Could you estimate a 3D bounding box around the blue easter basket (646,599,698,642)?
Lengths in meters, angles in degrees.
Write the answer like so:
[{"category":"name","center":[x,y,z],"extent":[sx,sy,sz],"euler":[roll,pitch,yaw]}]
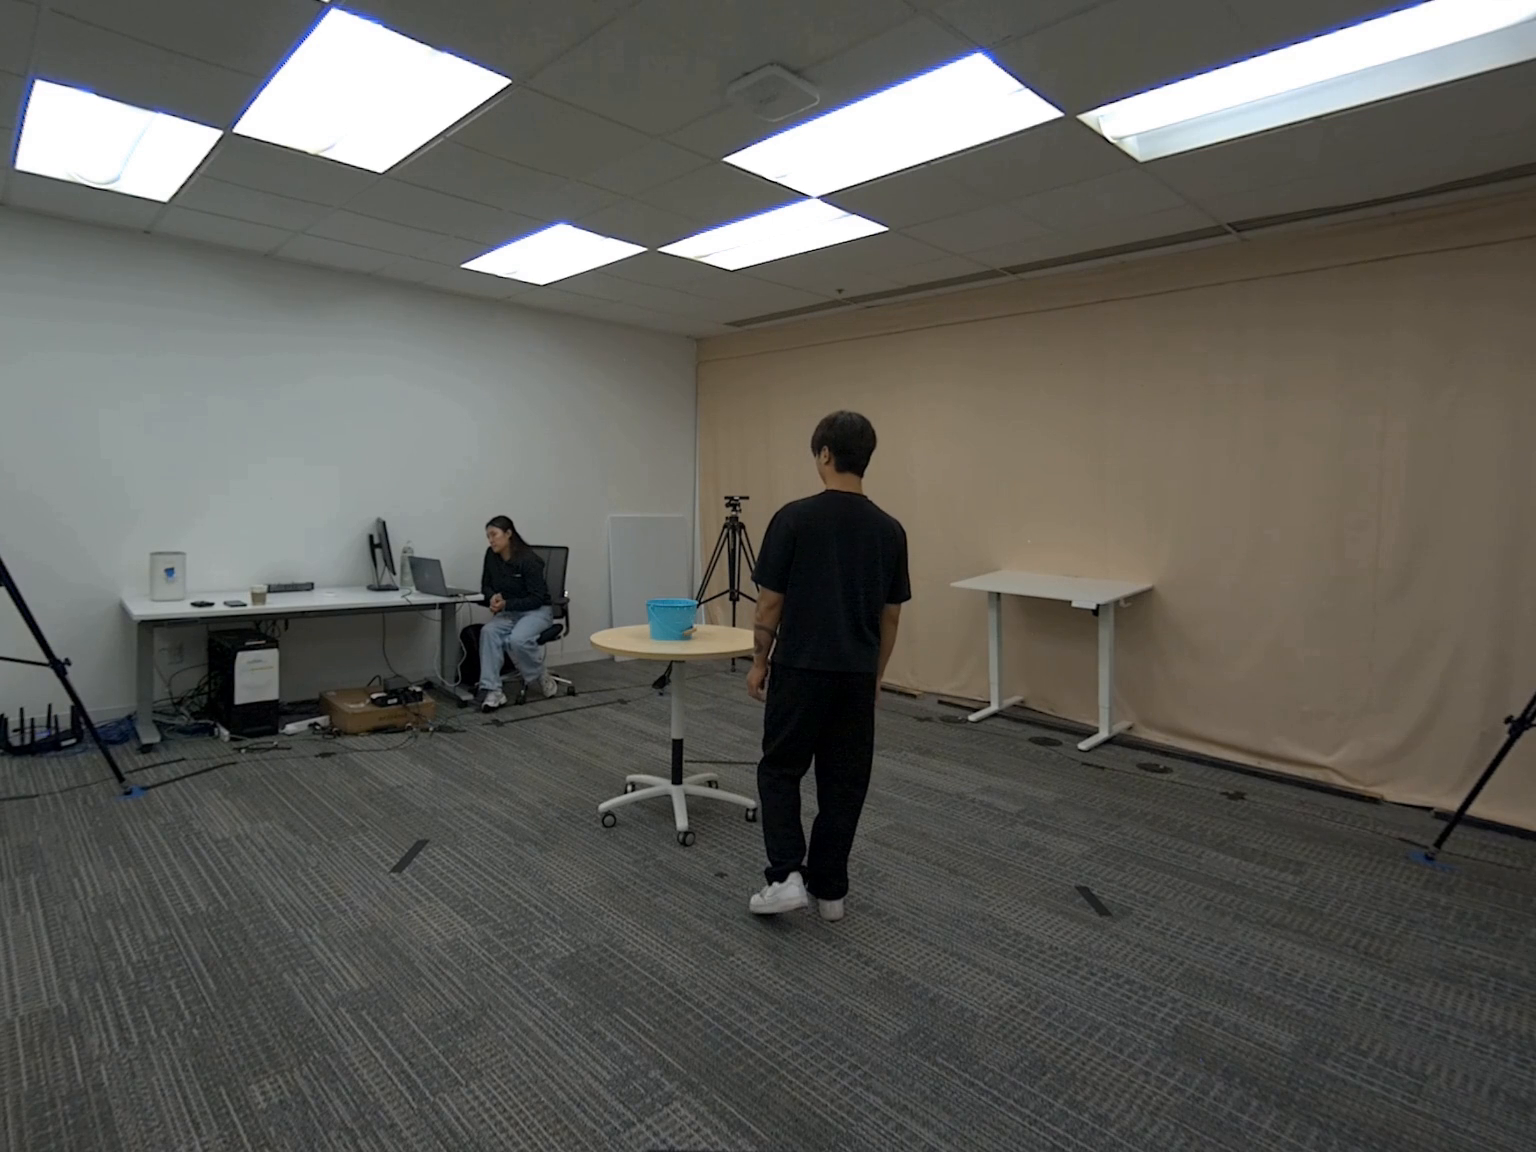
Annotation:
[{"category":"blue easter basket","center":[-0.432,0.192,3.647],"extent":[0.243,0.155,0.244],"euler":[1,4,-1]}]
